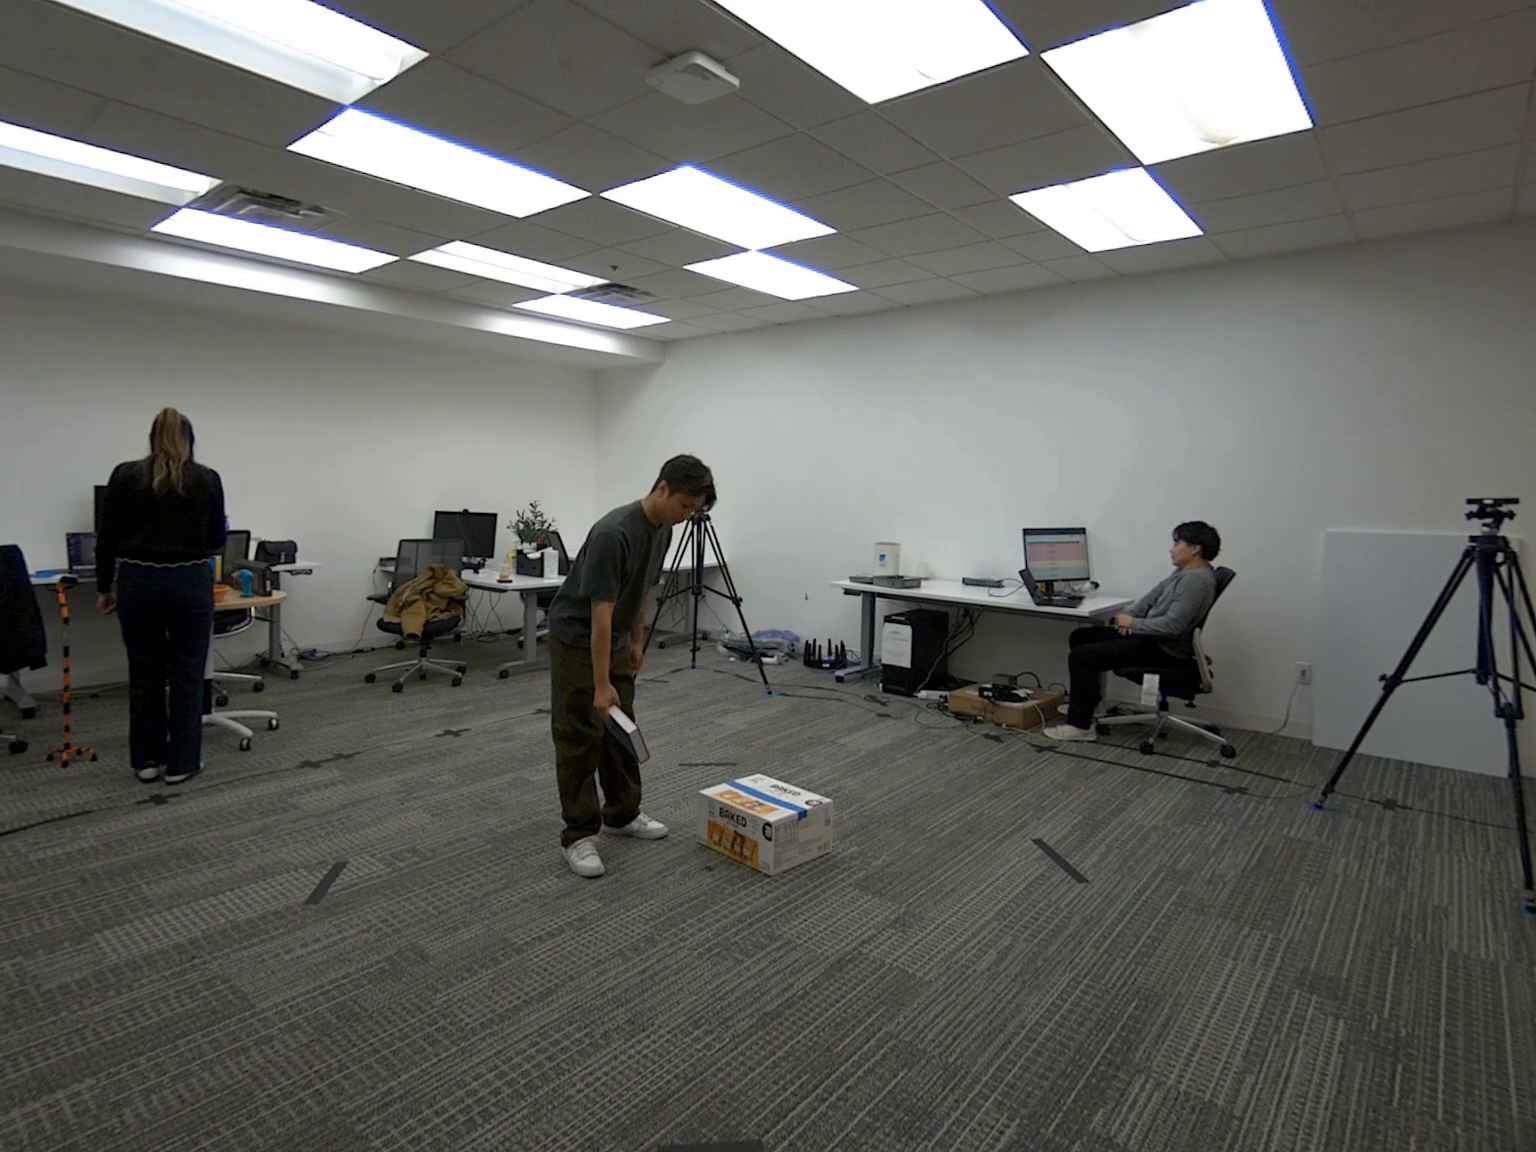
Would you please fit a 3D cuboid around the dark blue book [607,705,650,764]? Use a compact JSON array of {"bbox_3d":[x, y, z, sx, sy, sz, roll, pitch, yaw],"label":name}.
[{"bbox_3d":[-0.531,0.544,3.023,0.045,0.158,0.255,-31,38,-23],"label":"dark blue book"}]
